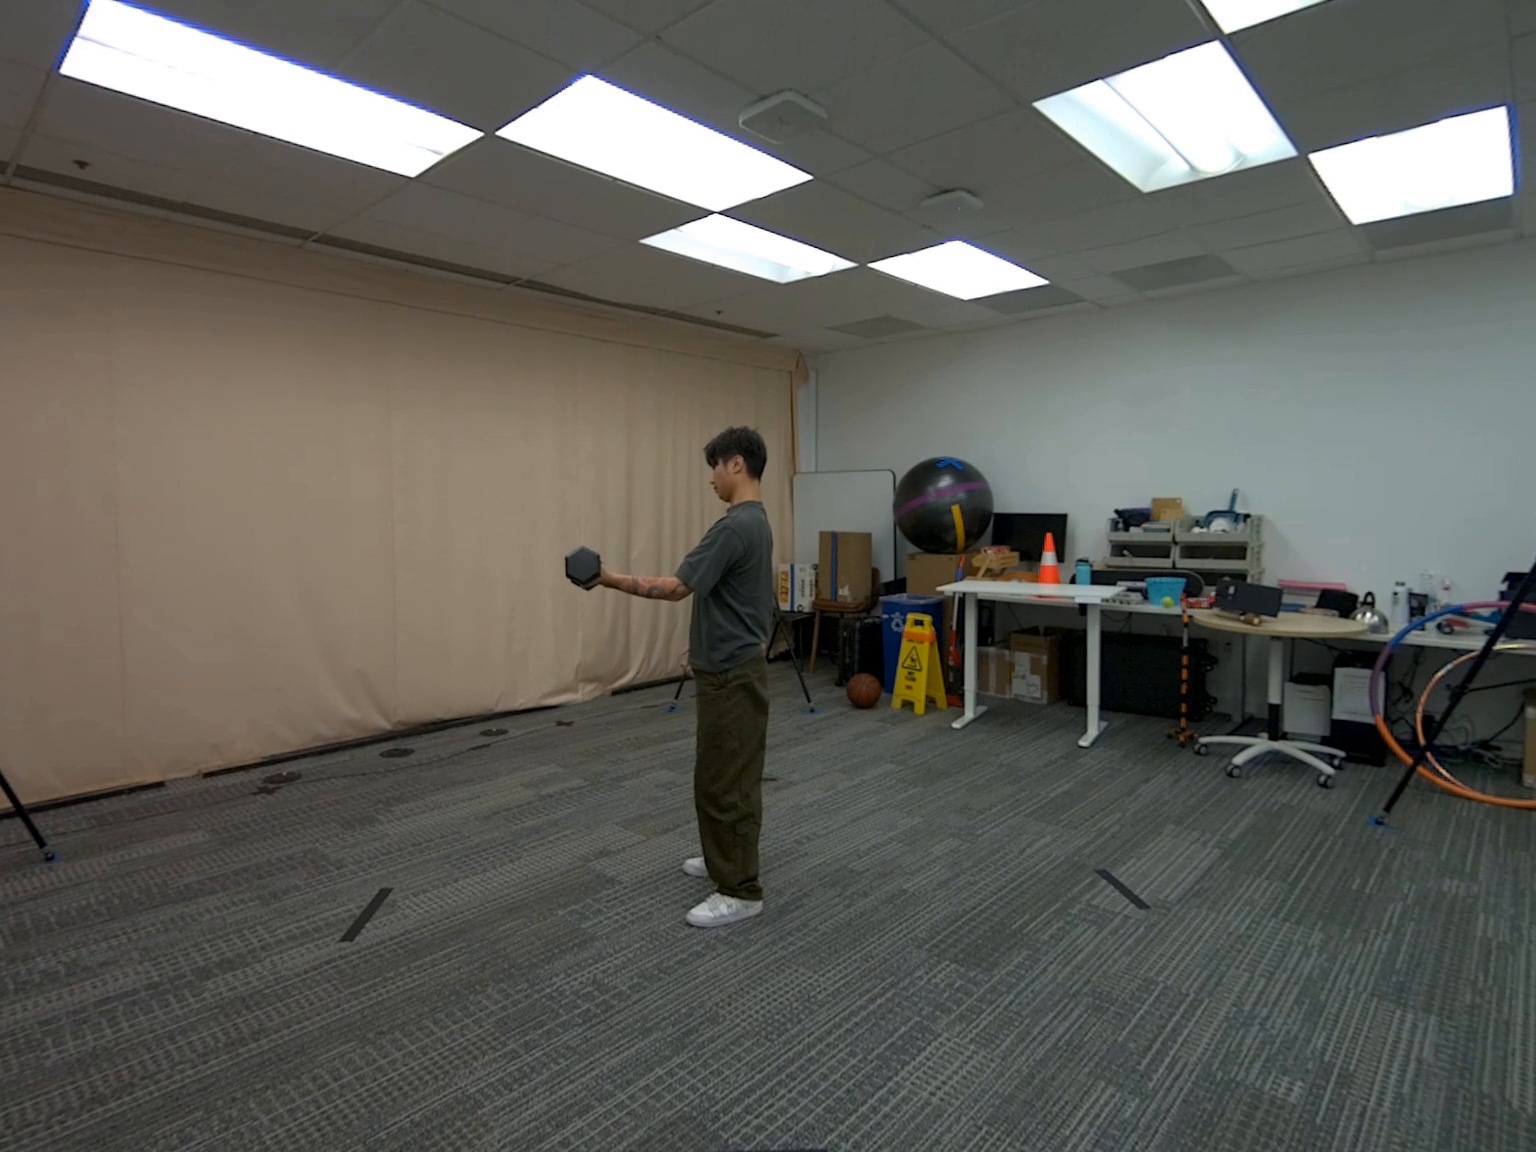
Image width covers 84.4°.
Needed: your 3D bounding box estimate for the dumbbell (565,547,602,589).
[{"bbox_3d":[-0.590,-0.027,2.706,0.108,0.123,0.295,-5,-4,-10],"label":"dumbbell"}]
